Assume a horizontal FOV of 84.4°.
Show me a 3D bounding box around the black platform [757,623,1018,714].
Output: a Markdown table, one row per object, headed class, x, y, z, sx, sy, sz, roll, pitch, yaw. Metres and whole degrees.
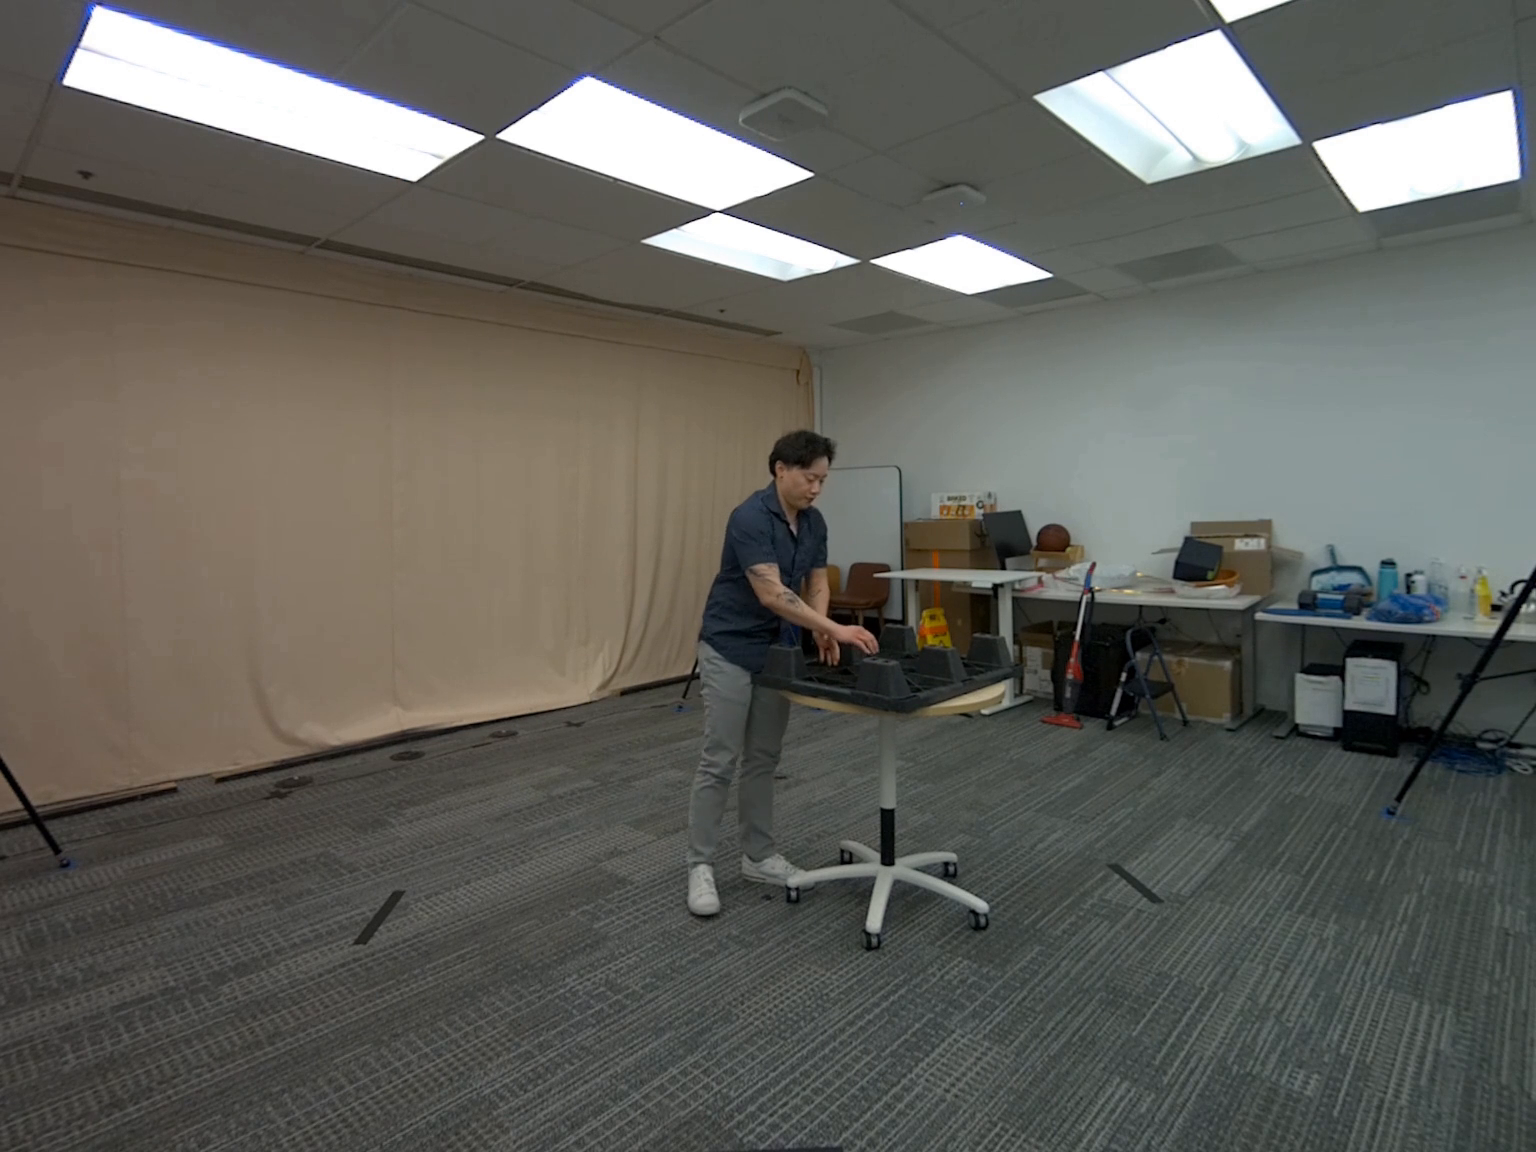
| class | x | y | z | sx | sy | sz | roll | pitch | yaw |
| --- | --- | --- | --- | --- | --- | --- | --- | --- | --- |
| black platform | 0.427 | 0.292 | 2.876 | 0.625 | 0.143 | 0.781 | 4 | 7 | 43 |
